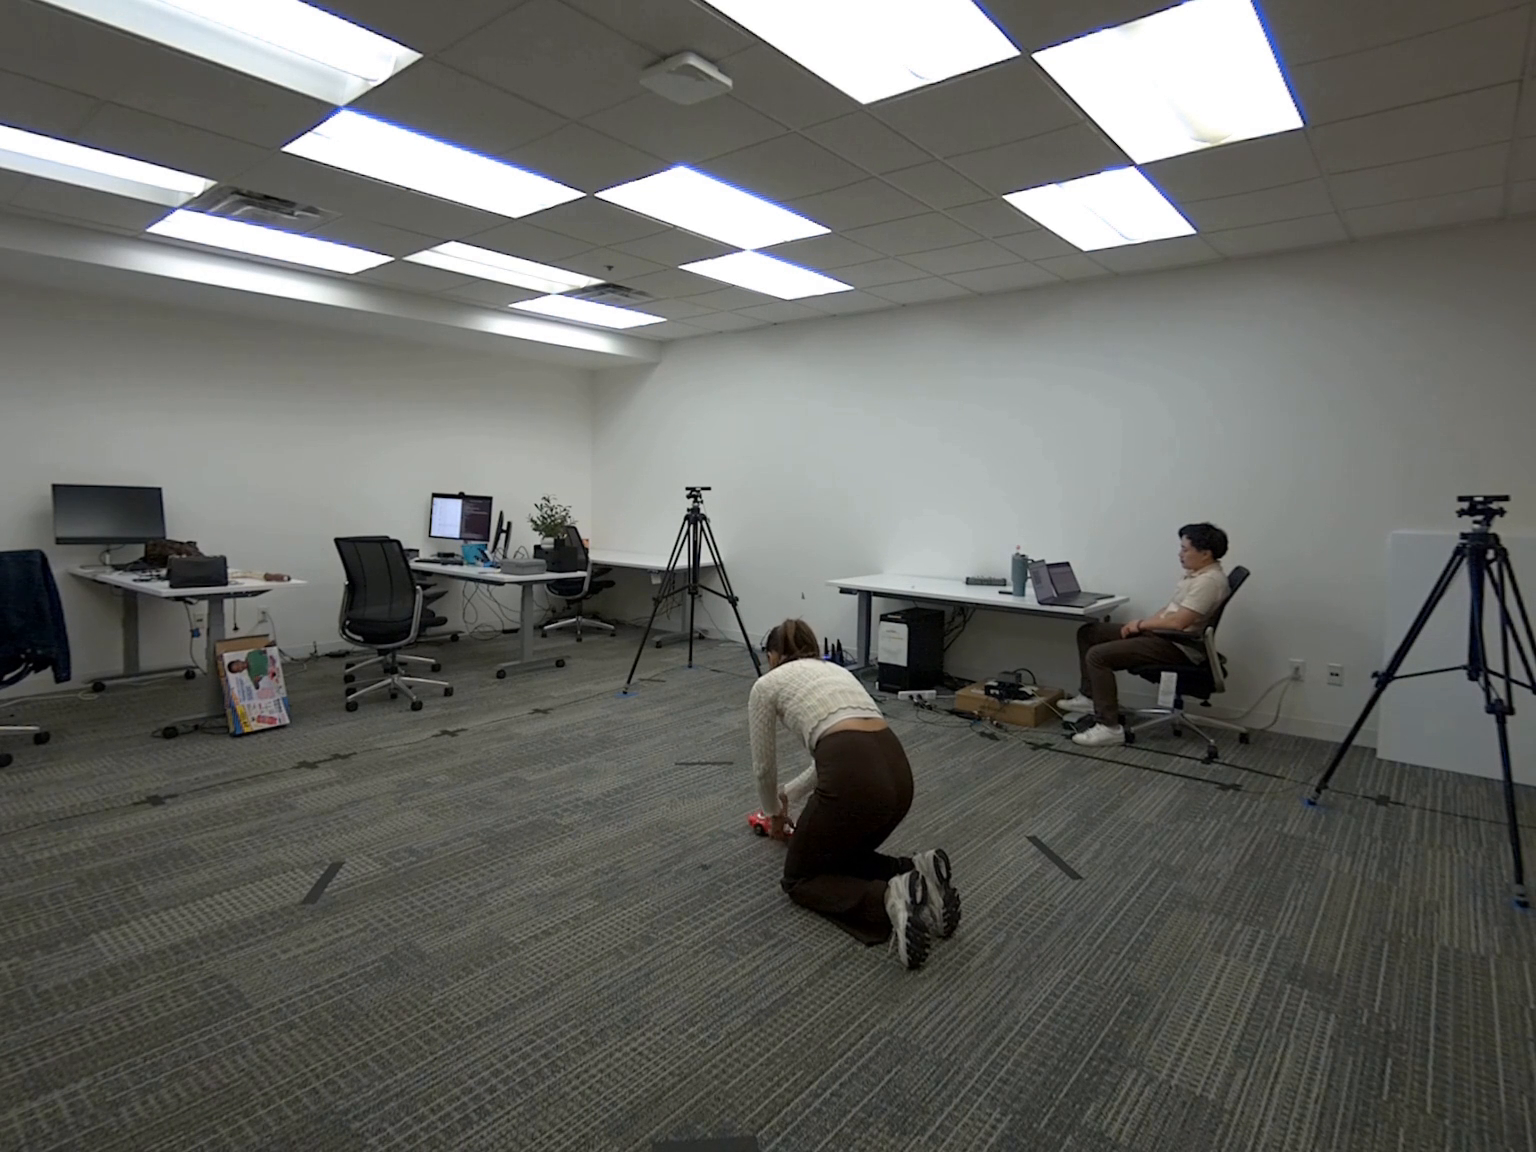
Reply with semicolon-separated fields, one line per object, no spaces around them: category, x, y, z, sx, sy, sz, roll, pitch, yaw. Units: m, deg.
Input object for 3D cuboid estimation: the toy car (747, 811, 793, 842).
toy car;0.024;1.004;3.420;0.264;0.082;0.126;17;11;32
